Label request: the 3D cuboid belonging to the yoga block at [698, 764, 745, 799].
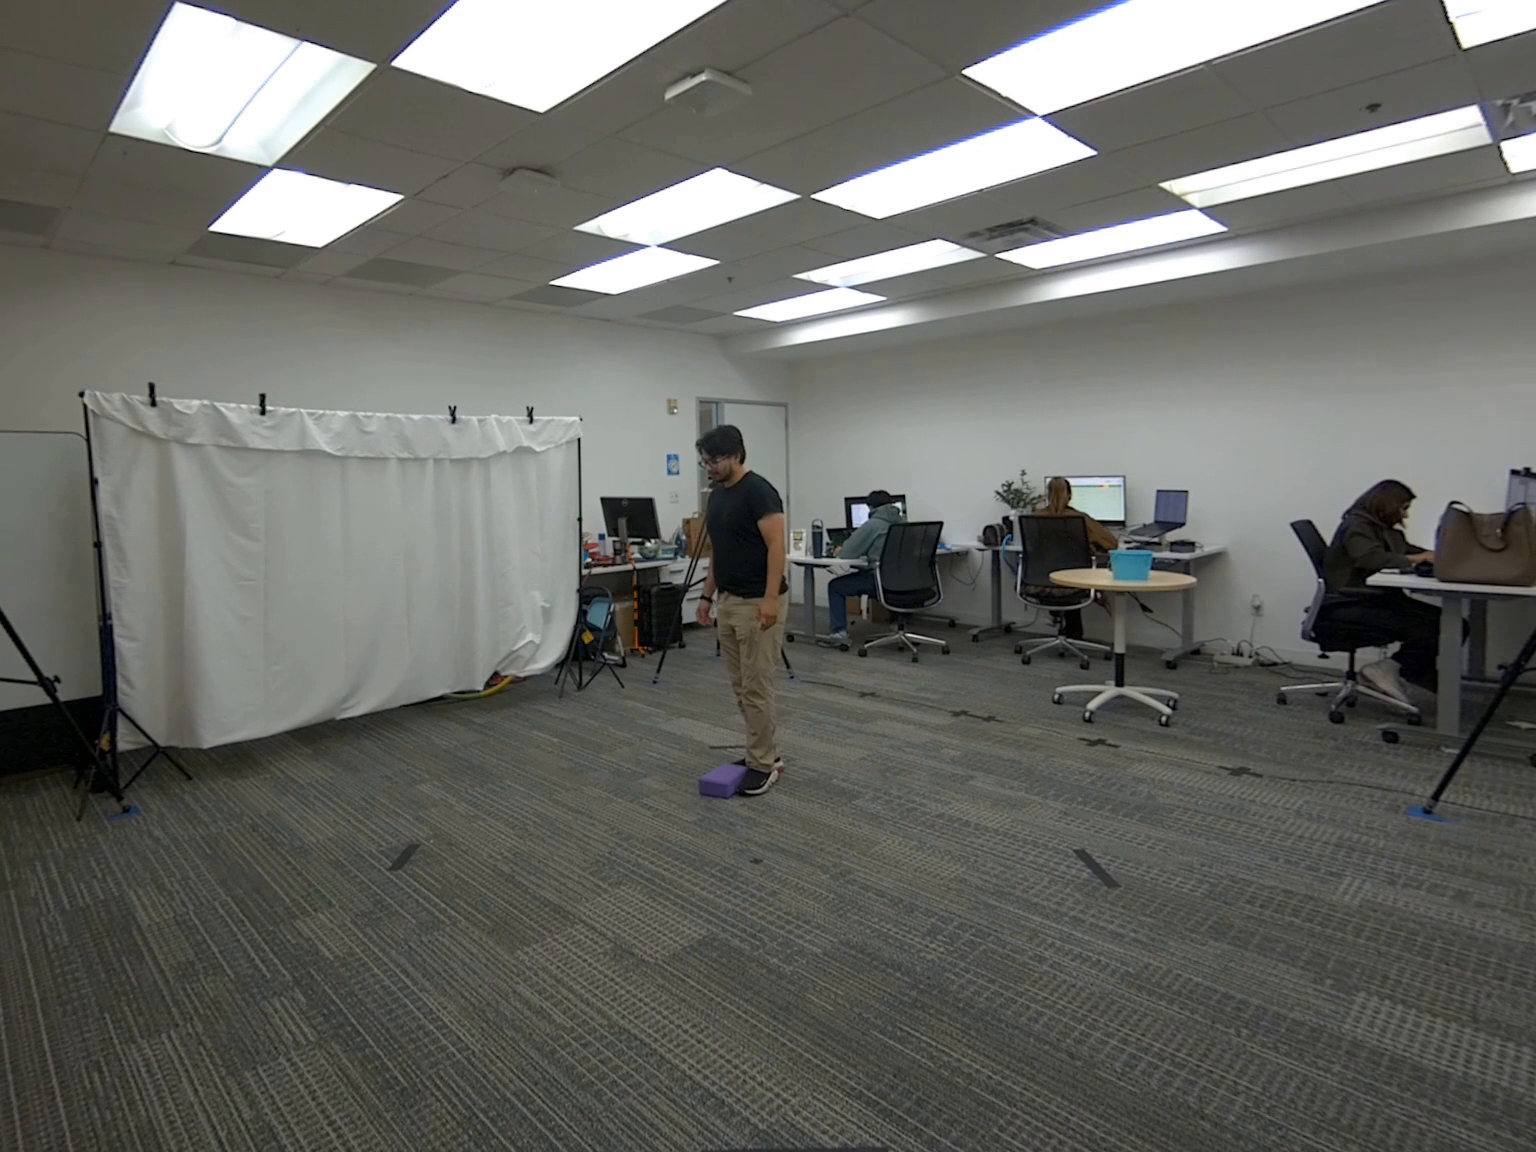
[{"bbox_3d":[-0.191,0.914,3.836,0.152,0.076,0.225,2,8,26],"label":"yoga block"}]
